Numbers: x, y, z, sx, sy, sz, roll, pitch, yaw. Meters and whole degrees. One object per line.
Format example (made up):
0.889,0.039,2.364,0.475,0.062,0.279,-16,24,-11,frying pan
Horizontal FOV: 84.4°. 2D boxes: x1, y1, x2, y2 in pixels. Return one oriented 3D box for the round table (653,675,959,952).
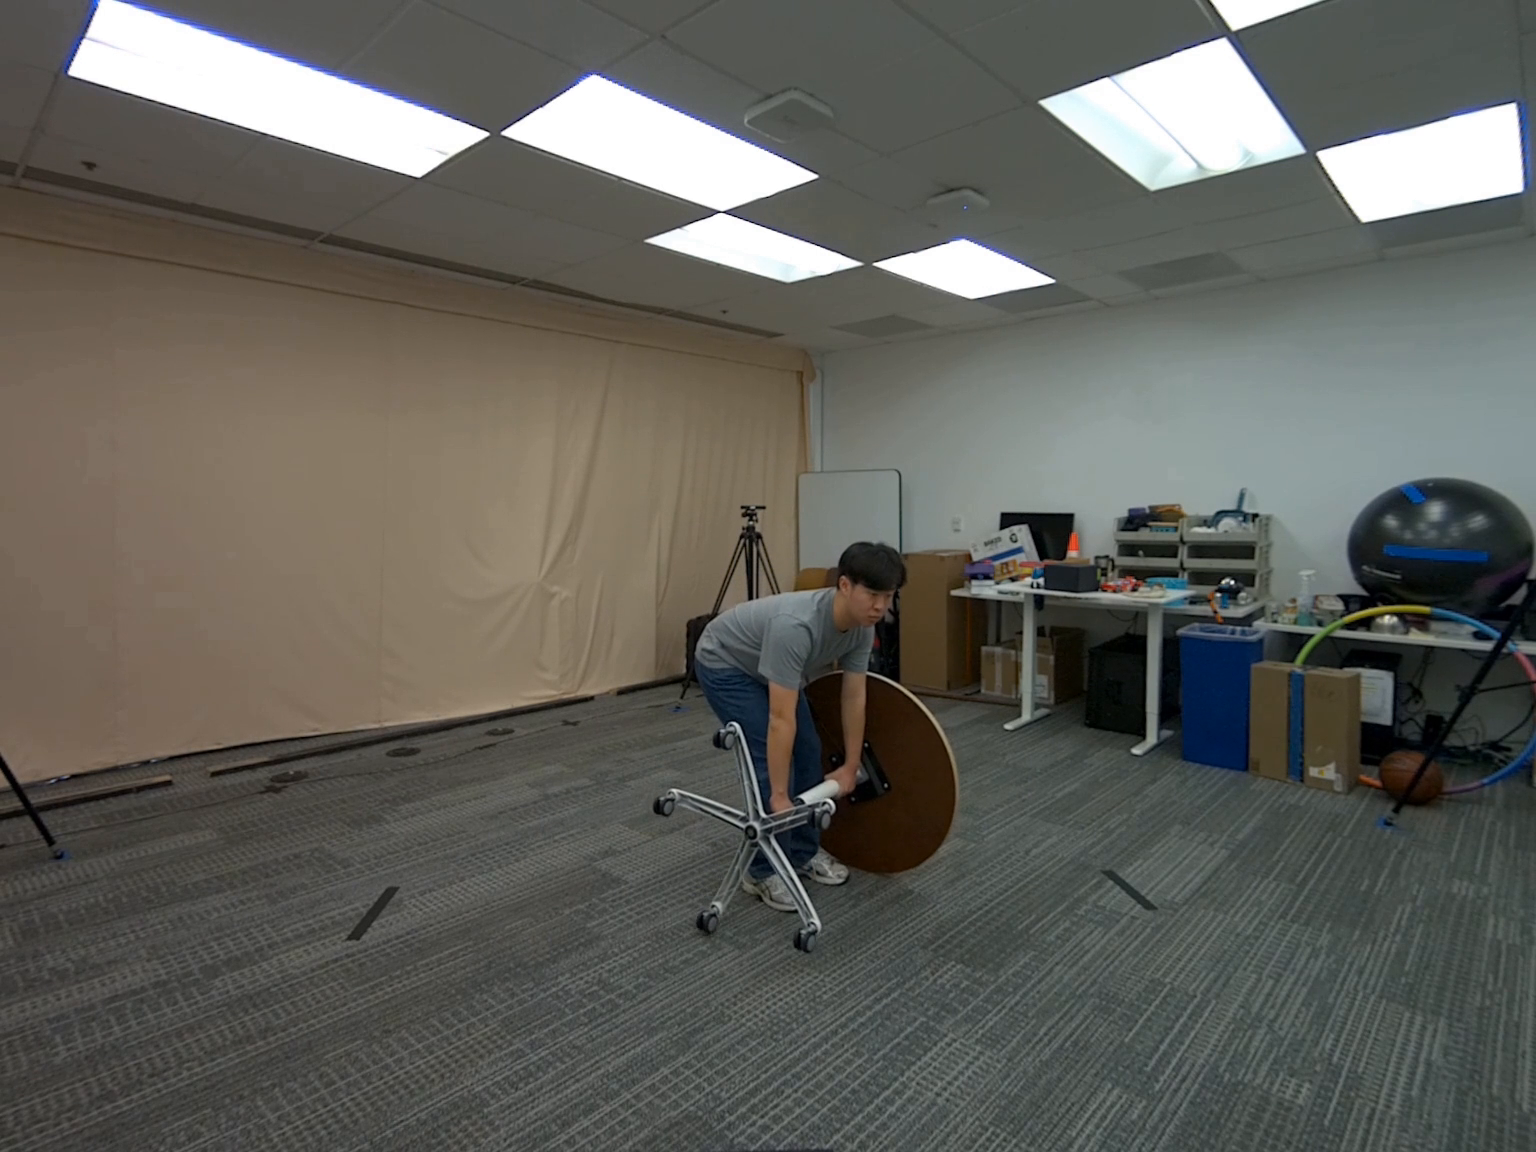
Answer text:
0.140,0.782,2.892,0.789,0.761,0.771,3,7,37,round table
